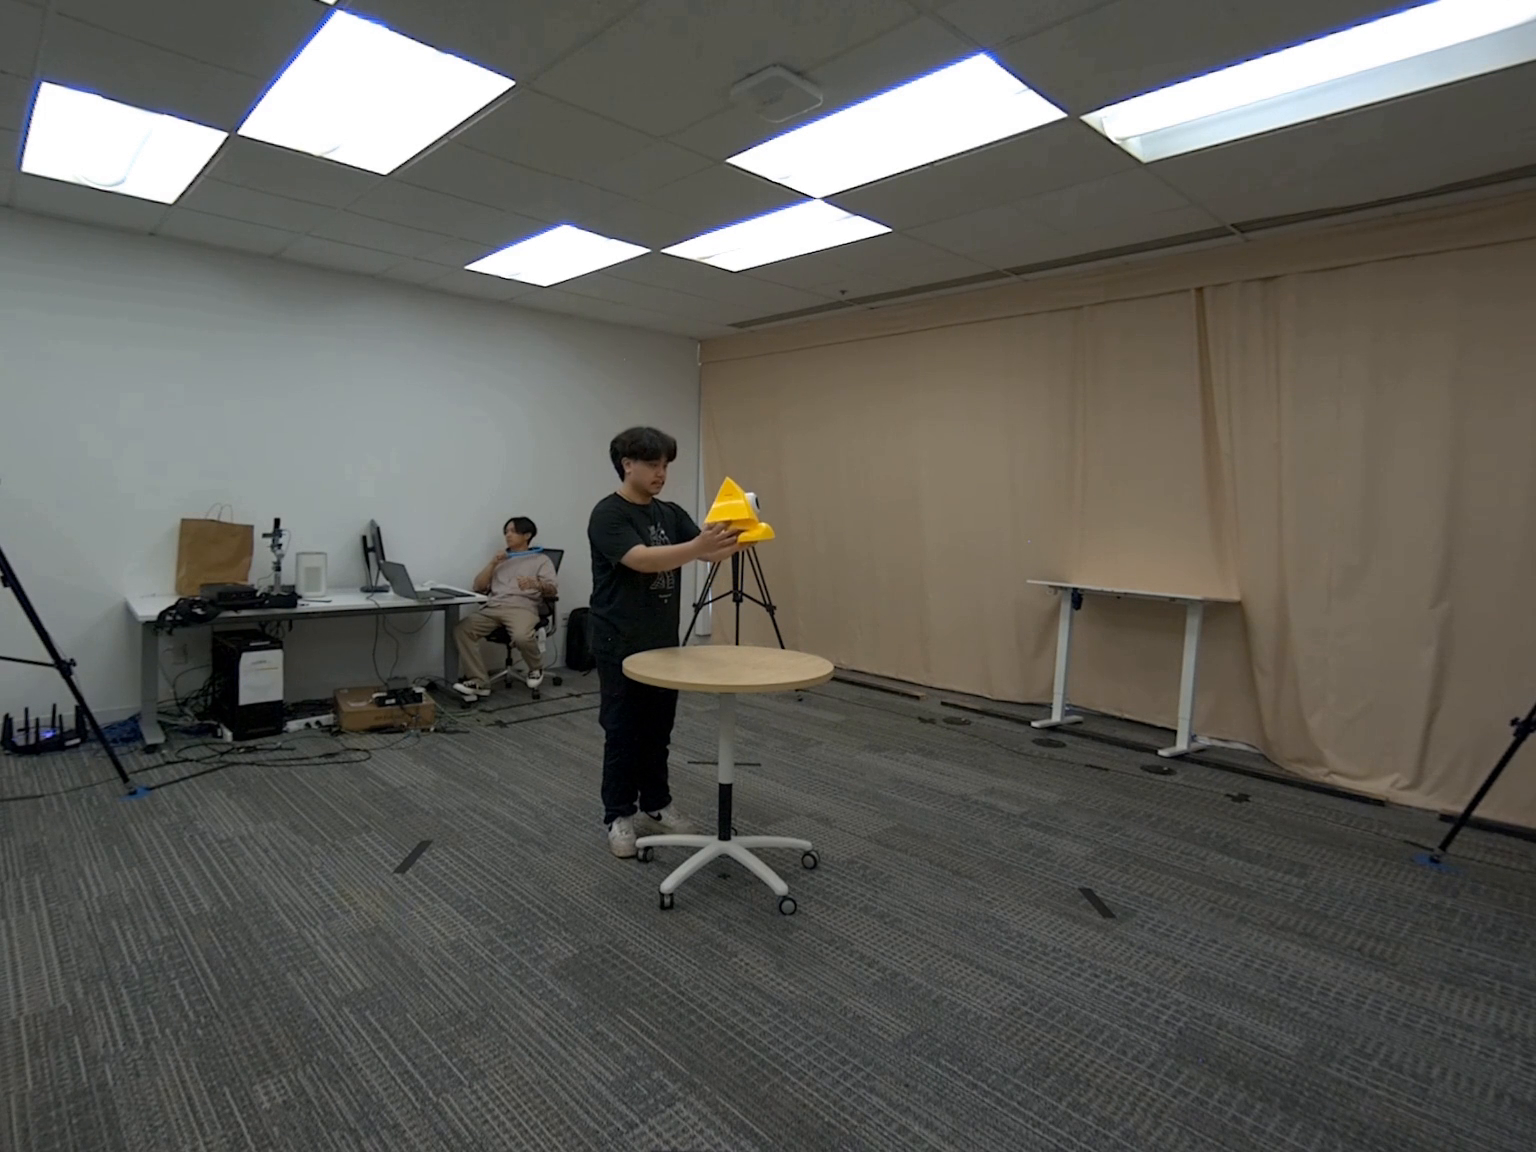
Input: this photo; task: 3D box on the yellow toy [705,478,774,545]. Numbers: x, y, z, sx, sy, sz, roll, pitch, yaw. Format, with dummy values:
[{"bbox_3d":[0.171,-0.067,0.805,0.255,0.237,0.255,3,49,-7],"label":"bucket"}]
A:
[{"bbox_3d":[-0.101,-0.239,2.986,0.209,0.230,0.189,-4,2,39],"label":"yellow toy"}]
